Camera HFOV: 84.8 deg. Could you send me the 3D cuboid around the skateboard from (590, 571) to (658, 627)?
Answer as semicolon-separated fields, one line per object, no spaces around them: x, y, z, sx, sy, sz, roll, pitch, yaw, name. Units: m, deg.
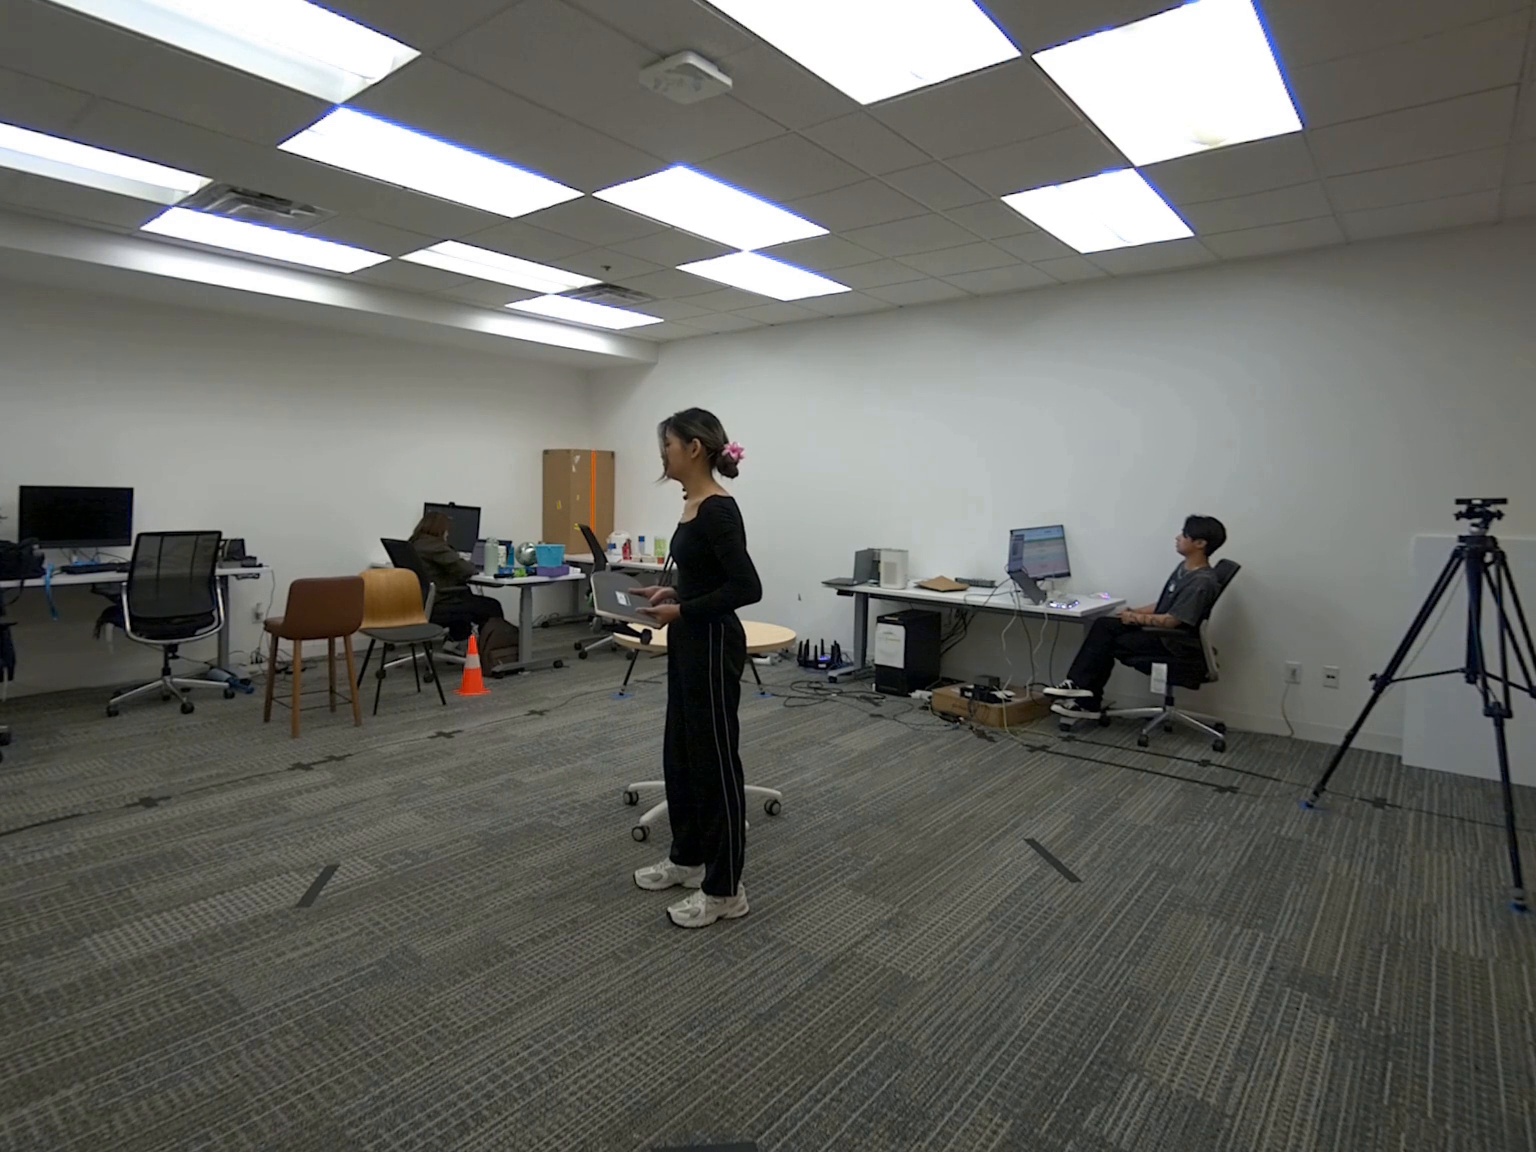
-0.488;0.110;2.758;0.190;0.110;0.800;10;7;-14;skateboard
